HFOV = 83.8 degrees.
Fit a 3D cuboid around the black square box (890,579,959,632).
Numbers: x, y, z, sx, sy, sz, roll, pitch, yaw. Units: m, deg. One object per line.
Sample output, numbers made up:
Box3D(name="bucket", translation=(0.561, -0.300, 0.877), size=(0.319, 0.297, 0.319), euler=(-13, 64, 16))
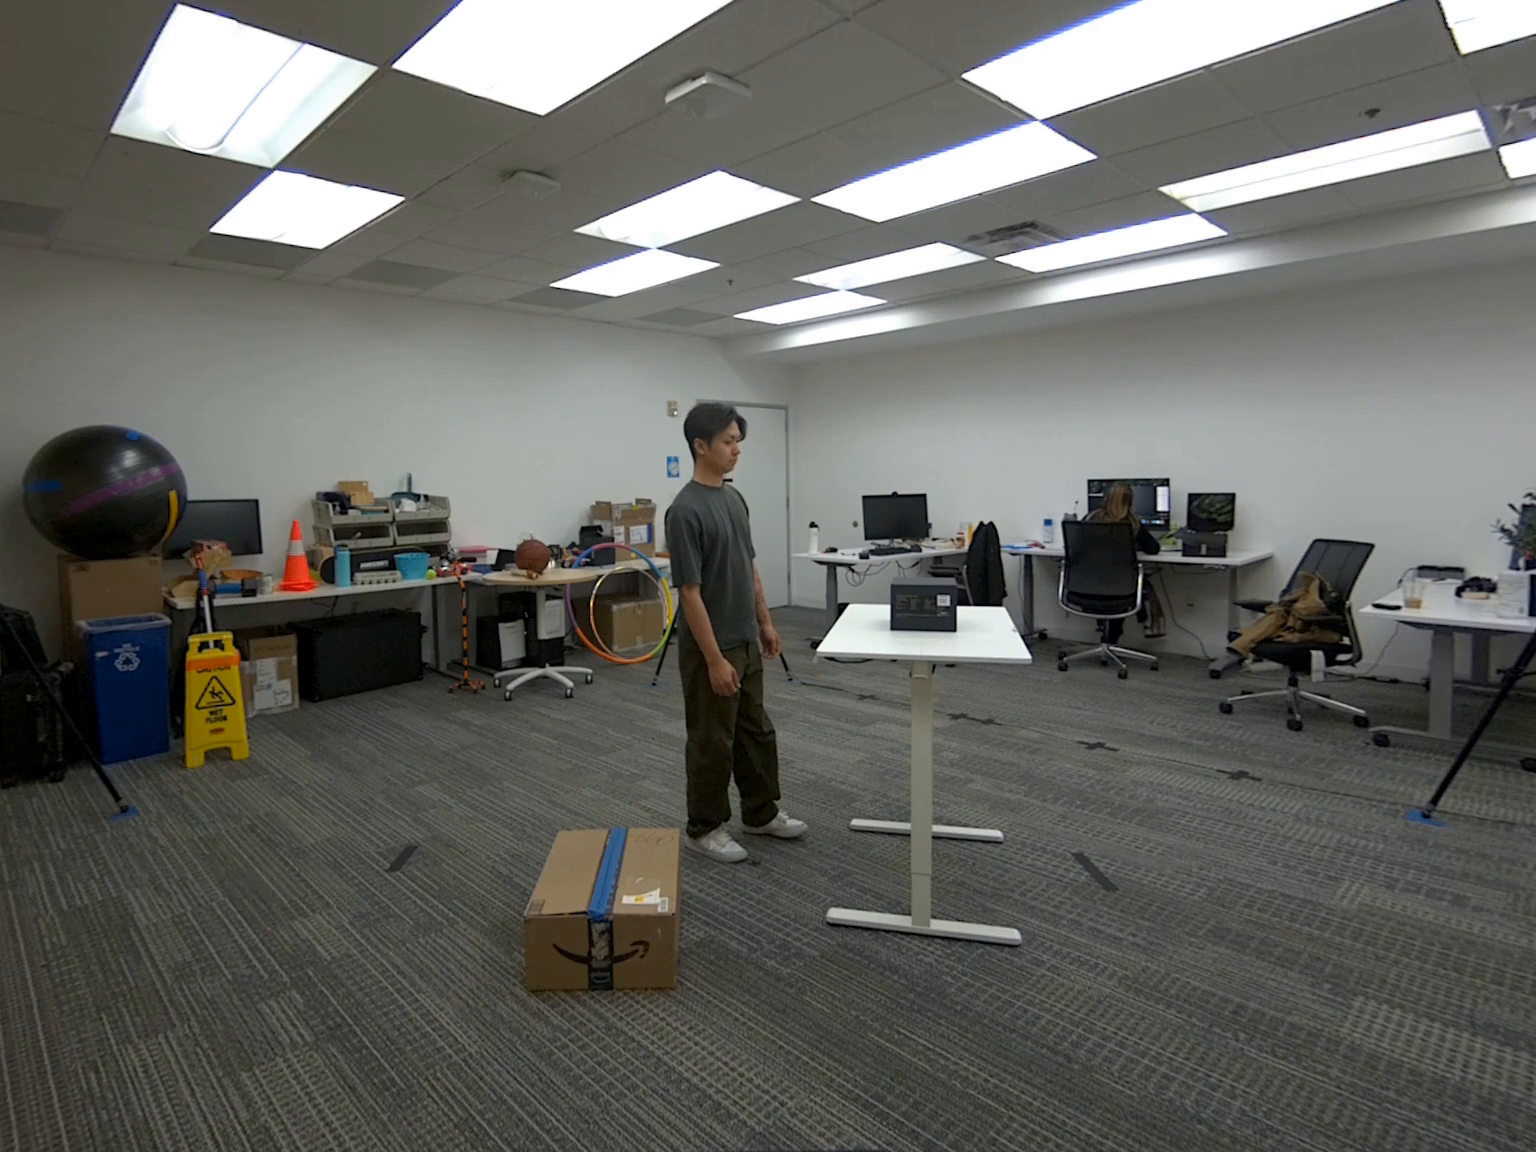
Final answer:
Box3D(name="black square box", translation=(0.538, 0.091, 2.926), size=(0.220, 0.155, 0.225), euler=(1, 4, 13))
